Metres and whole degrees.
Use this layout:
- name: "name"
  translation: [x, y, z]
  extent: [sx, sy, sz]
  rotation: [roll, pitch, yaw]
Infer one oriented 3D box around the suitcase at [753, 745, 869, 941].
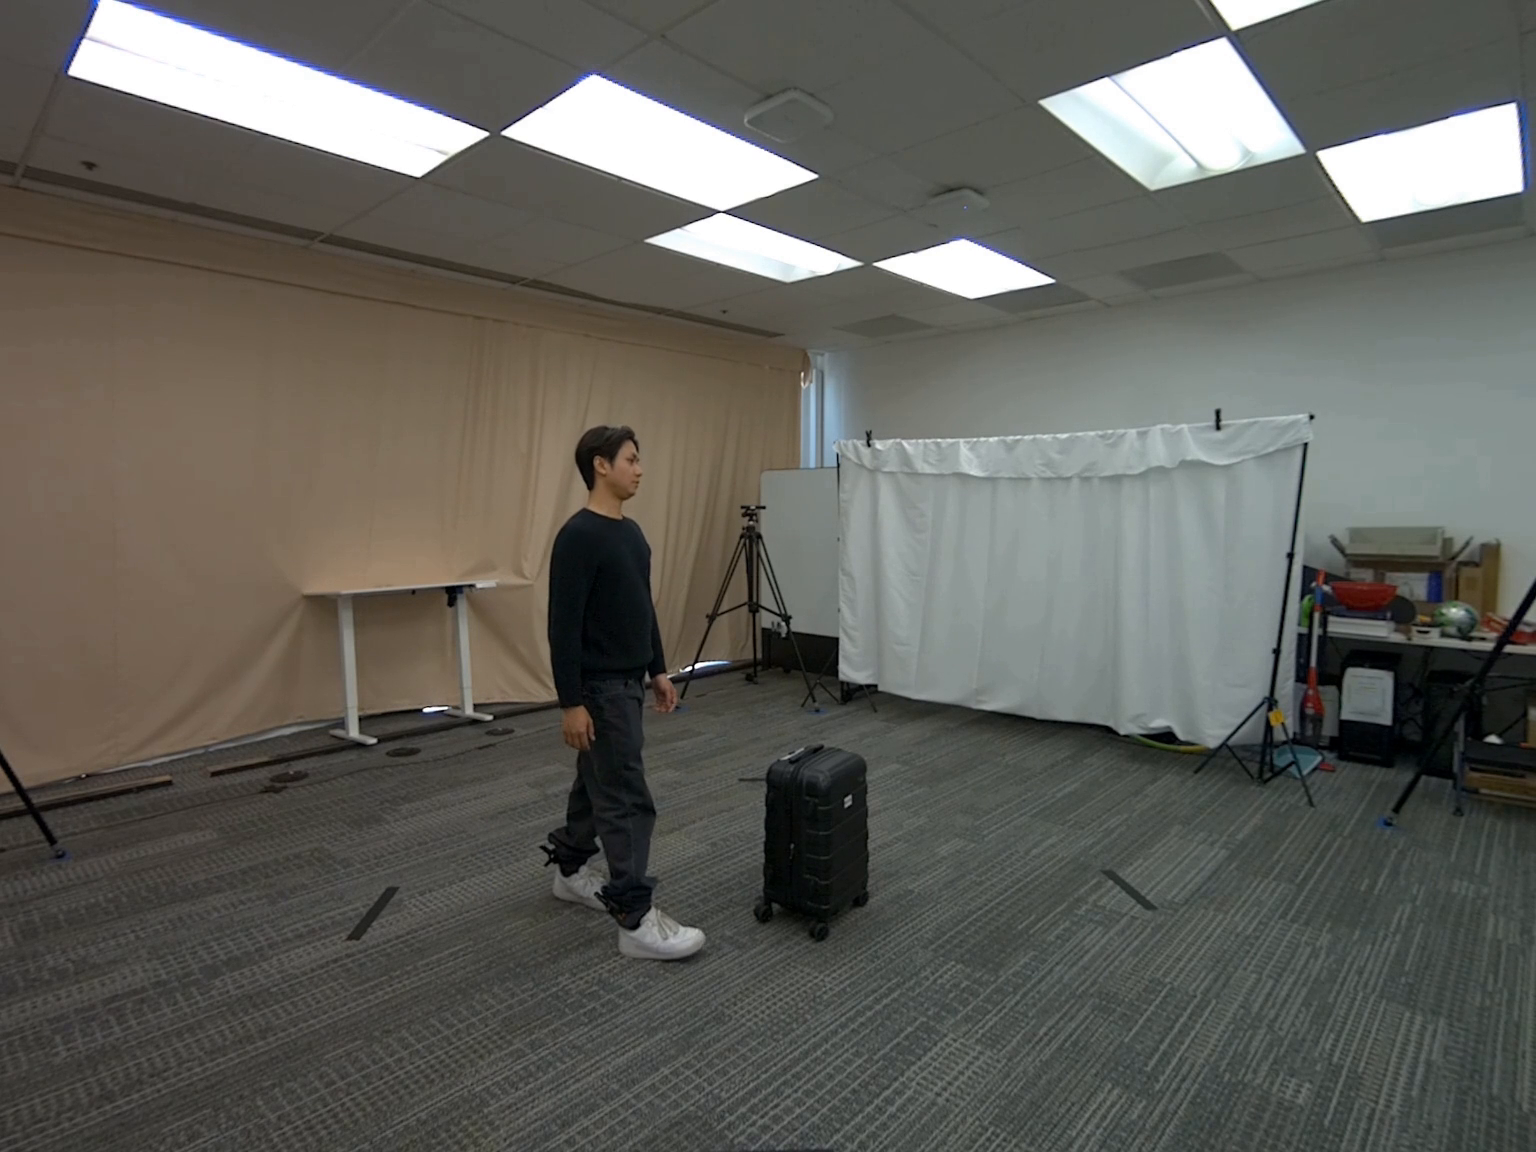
- name: "suitcase"
  translation: [0.171, 0.878, 2.880]
  extent: [0.256, 0.548, 0.364]
  rotation: [3, 3, 33]
